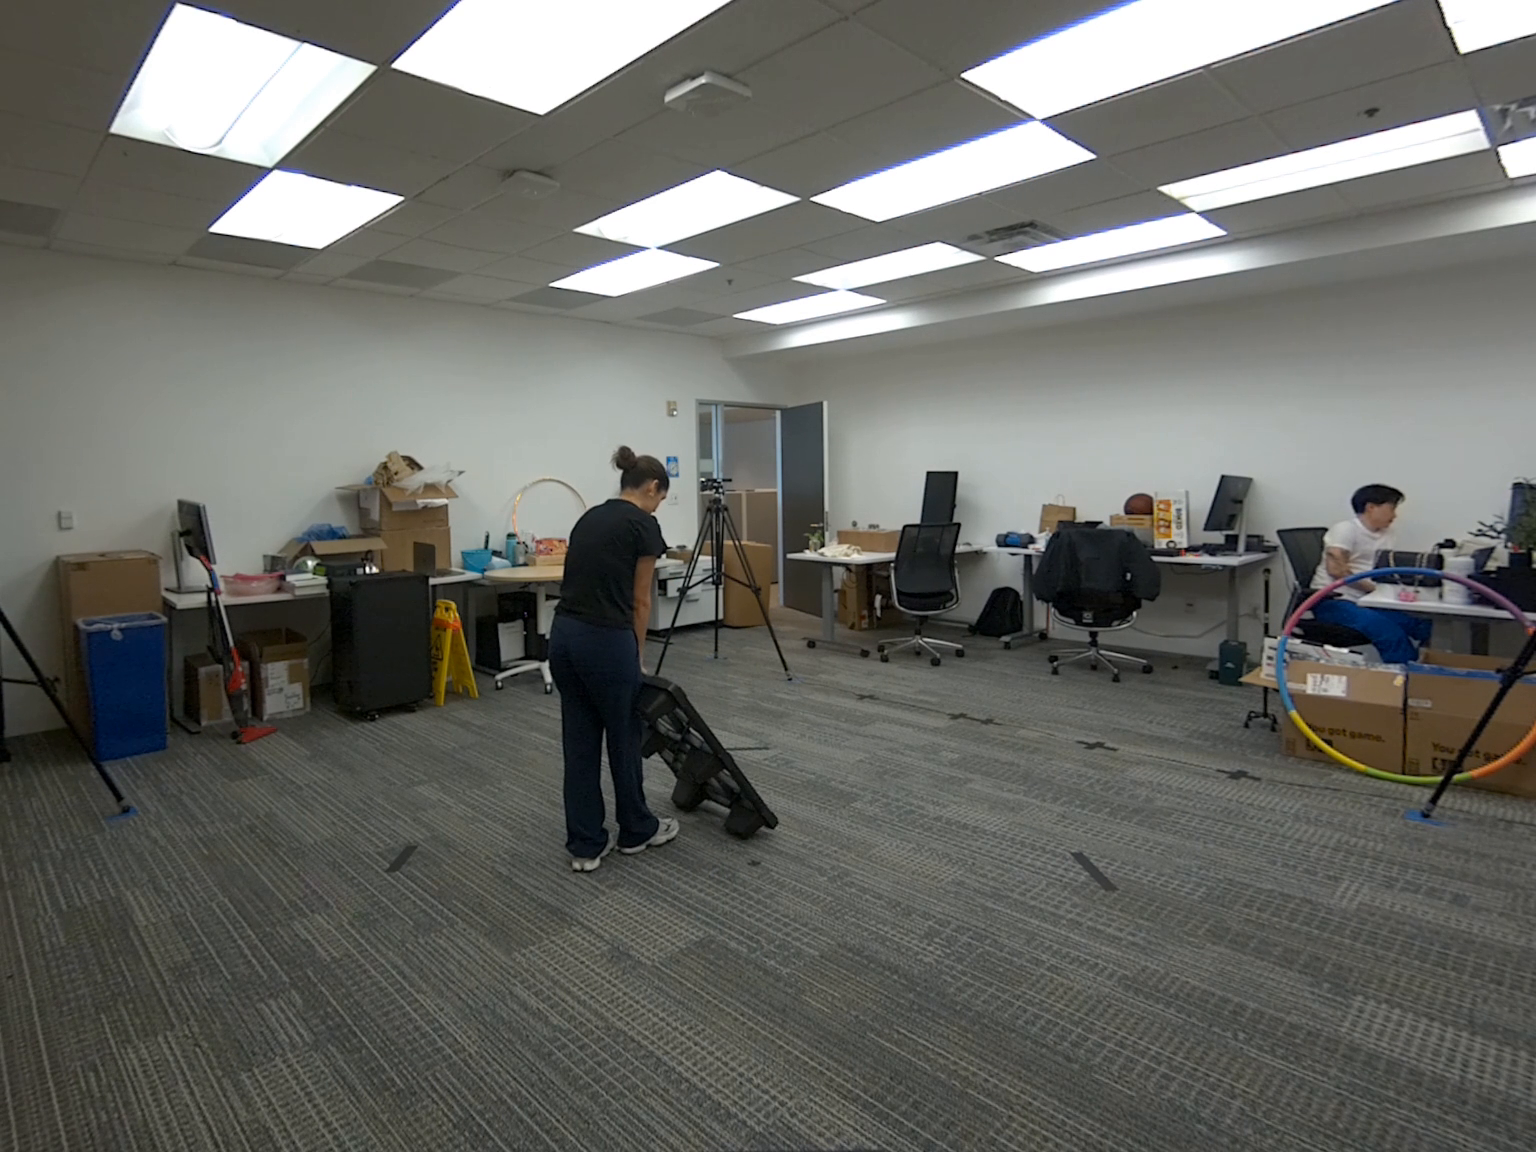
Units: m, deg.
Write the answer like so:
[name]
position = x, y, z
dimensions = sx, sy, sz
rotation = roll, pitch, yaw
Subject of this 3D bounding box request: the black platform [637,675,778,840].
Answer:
[black platform]
position = -0.369, 0.690, 3.381
dimensions = 0.624, 0.782, 0.143
rotation = 5, 43, 51
